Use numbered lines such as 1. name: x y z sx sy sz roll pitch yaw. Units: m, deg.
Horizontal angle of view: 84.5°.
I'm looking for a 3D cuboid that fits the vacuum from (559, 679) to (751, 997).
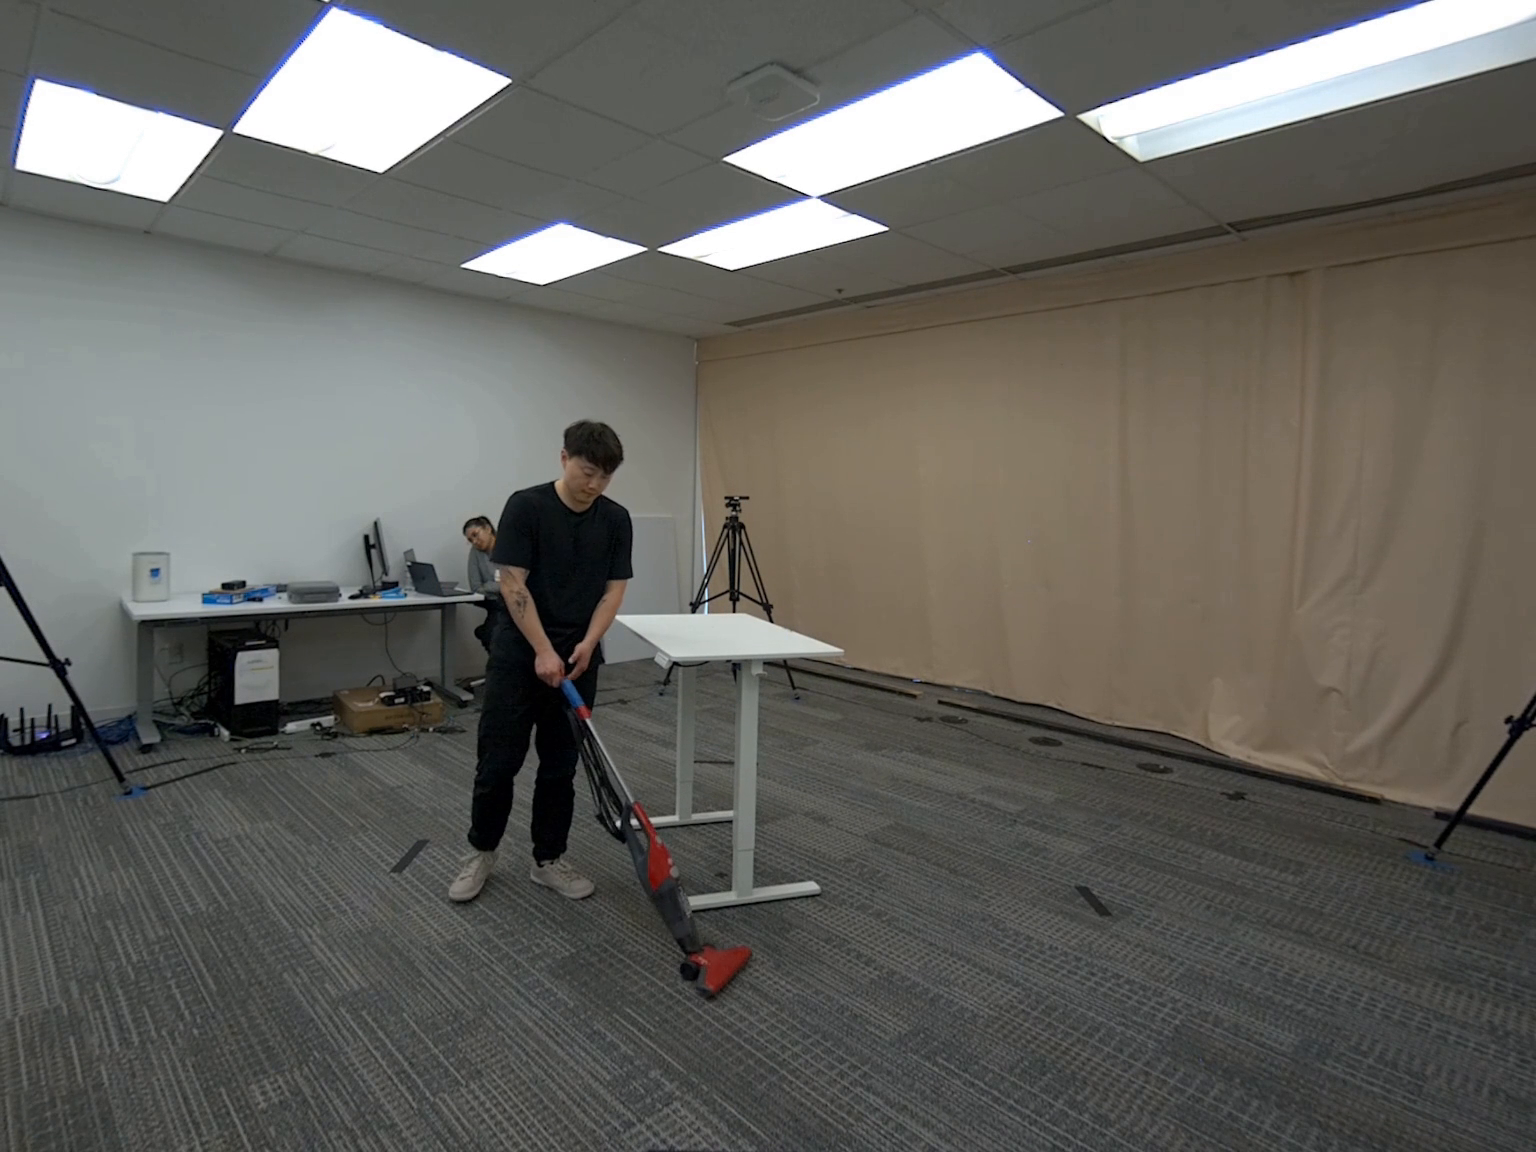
1. vacuum: -0.449 0.729 2.587 0.144 1.066 0.248 -41 -16 23
